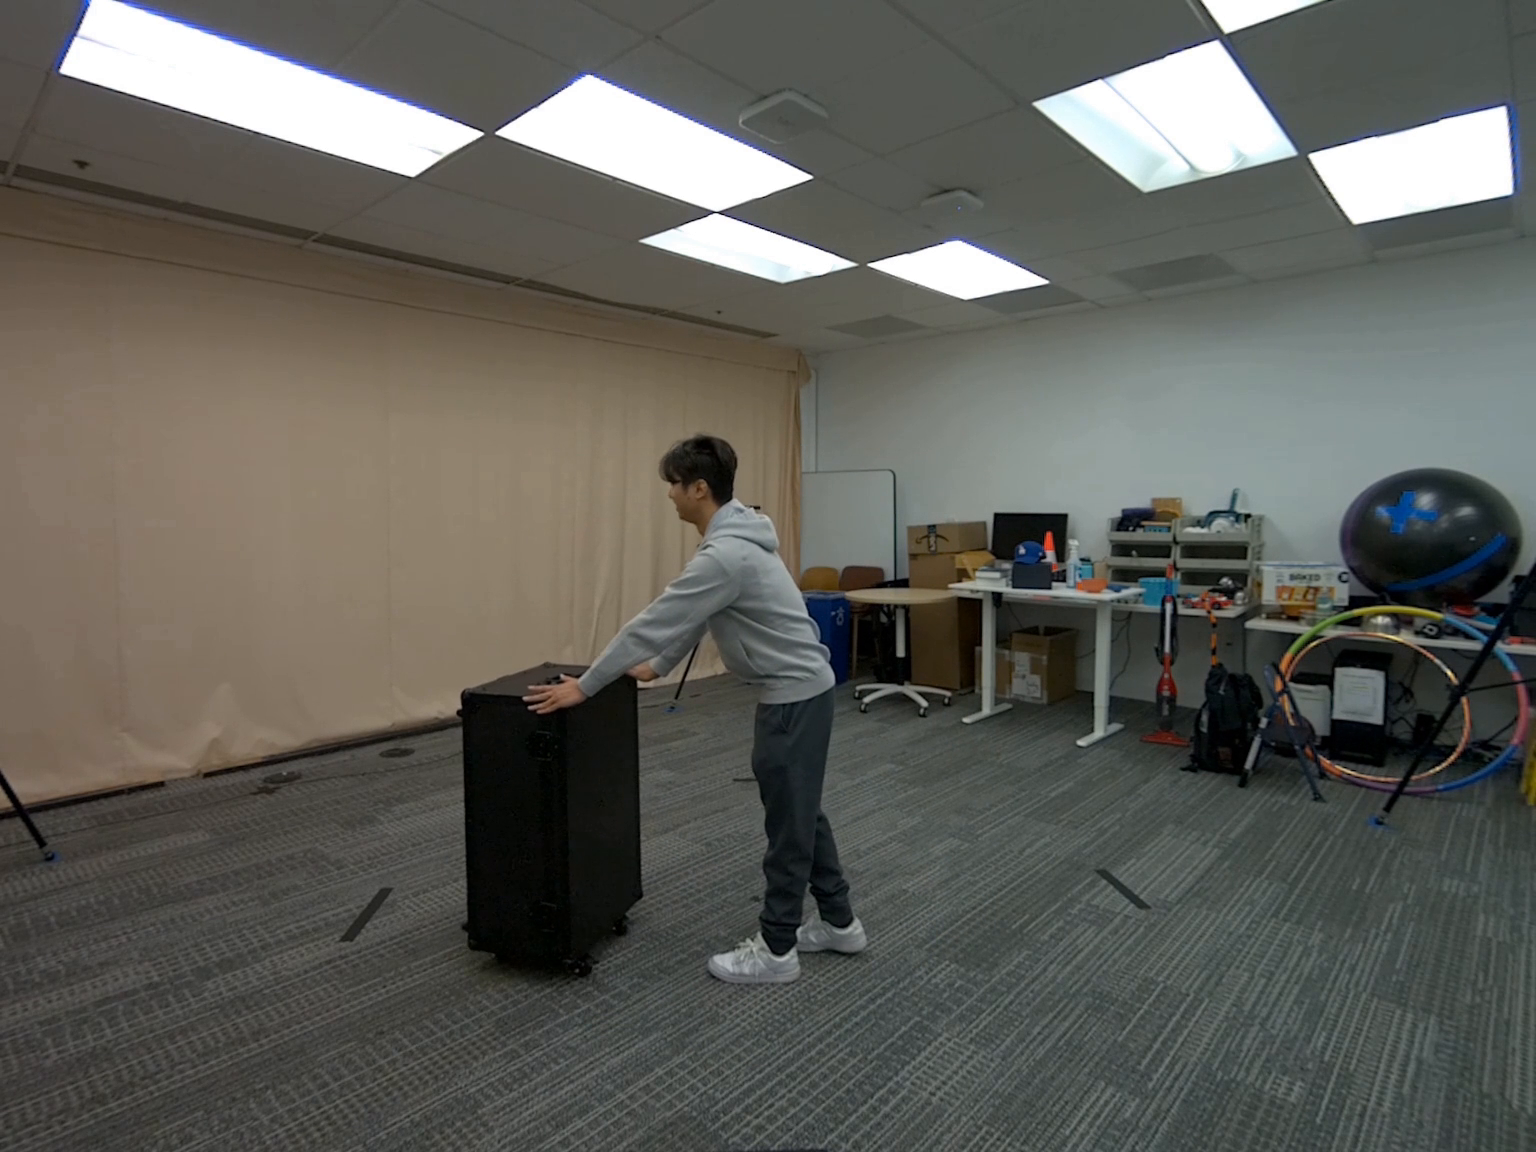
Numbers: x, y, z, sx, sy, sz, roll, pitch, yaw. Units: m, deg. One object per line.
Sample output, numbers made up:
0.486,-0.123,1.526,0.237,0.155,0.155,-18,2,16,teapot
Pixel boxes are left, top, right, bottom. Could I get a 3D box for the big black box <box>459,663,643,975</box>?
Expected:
-0.675,0.749,2.670,0.404,0.860,0.512,0,3,19,big black box
